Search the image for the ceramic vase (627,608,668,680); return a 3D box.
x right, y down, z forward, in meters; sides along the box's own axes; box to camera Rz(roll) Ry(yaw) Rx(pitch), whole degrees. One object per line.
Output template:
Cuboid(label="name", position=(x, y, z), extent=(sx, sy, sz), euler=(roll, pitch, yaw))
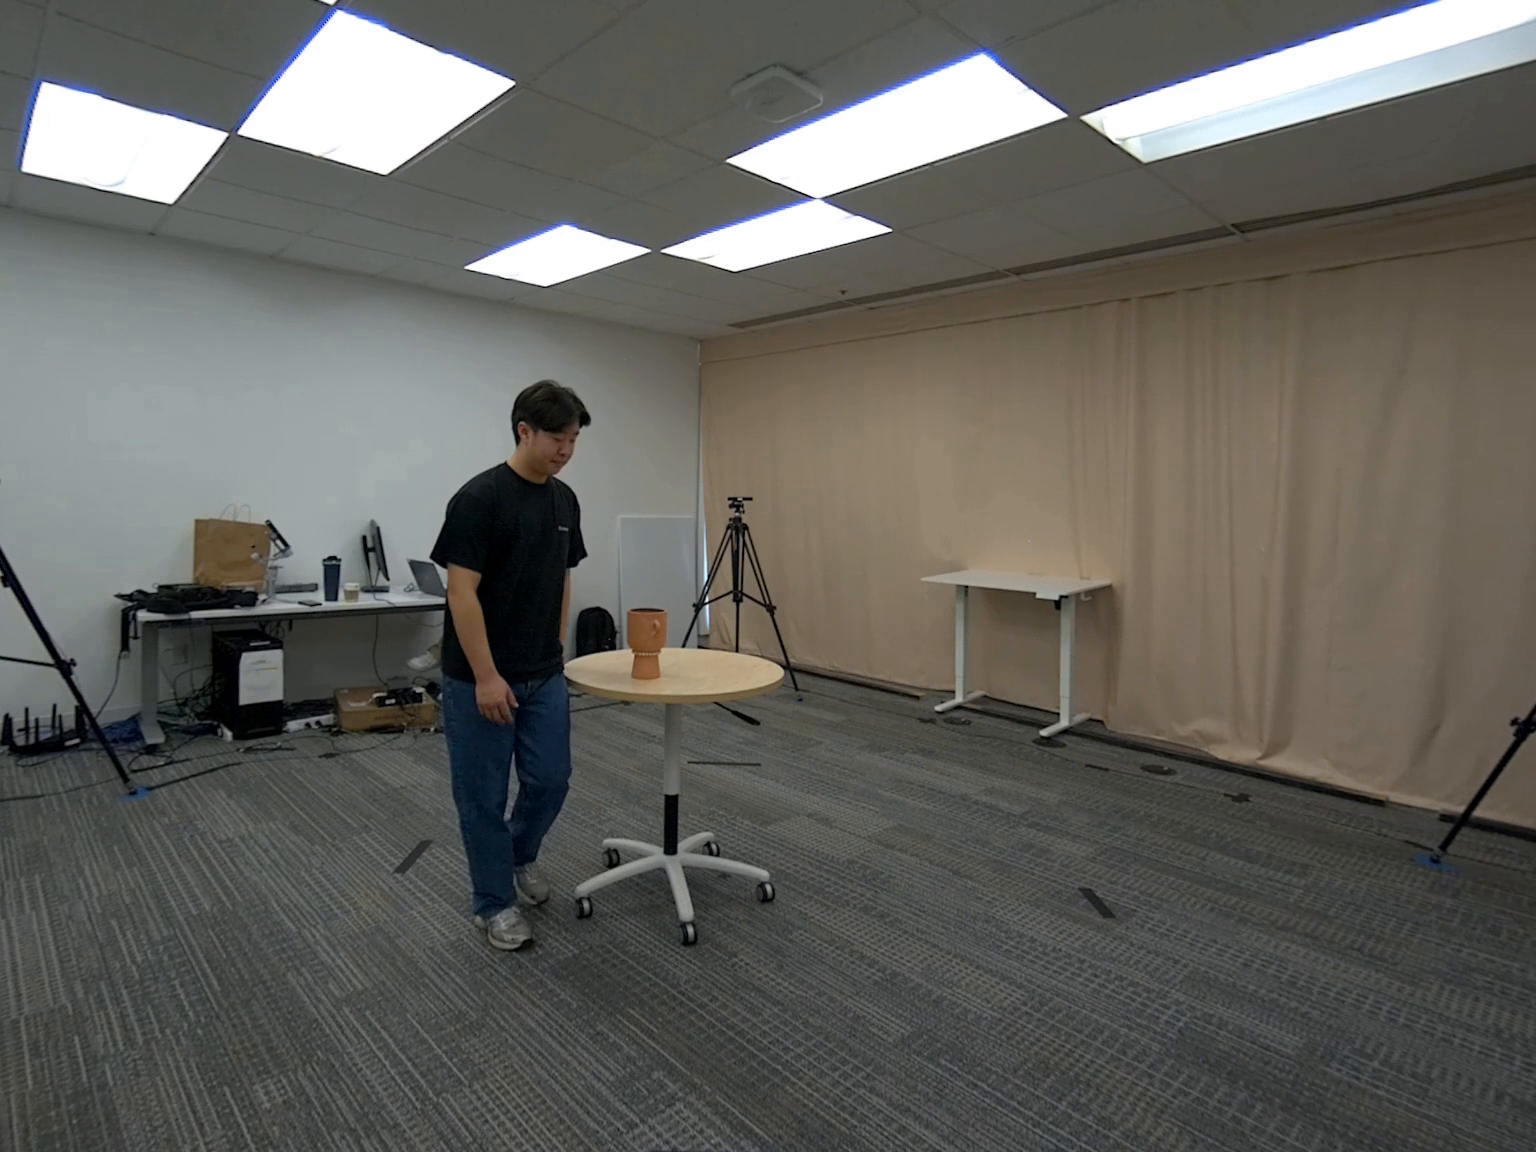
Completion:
Cuboid(label="ceramic vase", position=(-0.410, 0.228, 2.769), extent=(0.136, 0.219, 0.158), euler=(3, 5, 10))
